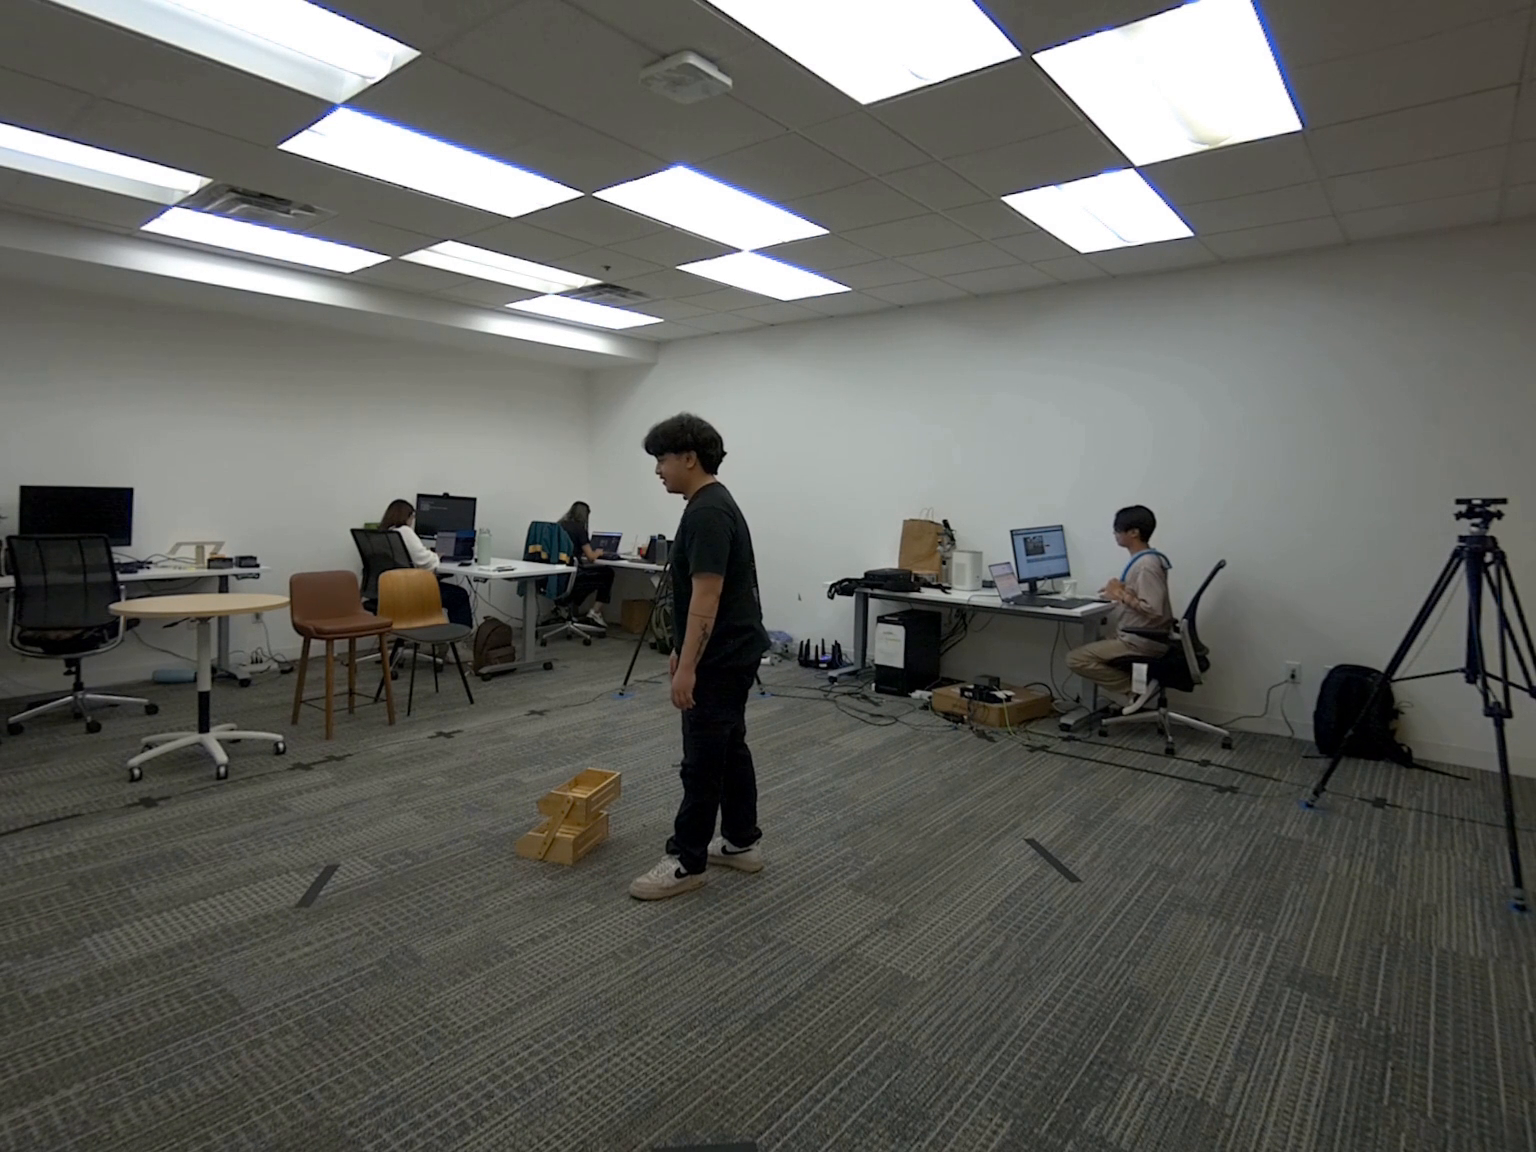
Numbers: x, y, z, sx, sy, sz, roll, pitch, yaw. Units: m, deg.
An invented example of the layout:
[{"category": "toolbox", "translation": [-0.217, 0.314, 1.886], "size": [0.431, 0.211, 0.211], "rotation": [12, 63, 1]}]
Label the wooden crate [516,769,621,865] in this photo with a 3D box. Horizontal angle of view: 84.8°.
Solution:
[{"category": "wooden crate", "translation": [-0.788, 0.911, 3.292], "size": [0.308, 0.272, 0.319], "rotation": [3, 5, 17]}]
